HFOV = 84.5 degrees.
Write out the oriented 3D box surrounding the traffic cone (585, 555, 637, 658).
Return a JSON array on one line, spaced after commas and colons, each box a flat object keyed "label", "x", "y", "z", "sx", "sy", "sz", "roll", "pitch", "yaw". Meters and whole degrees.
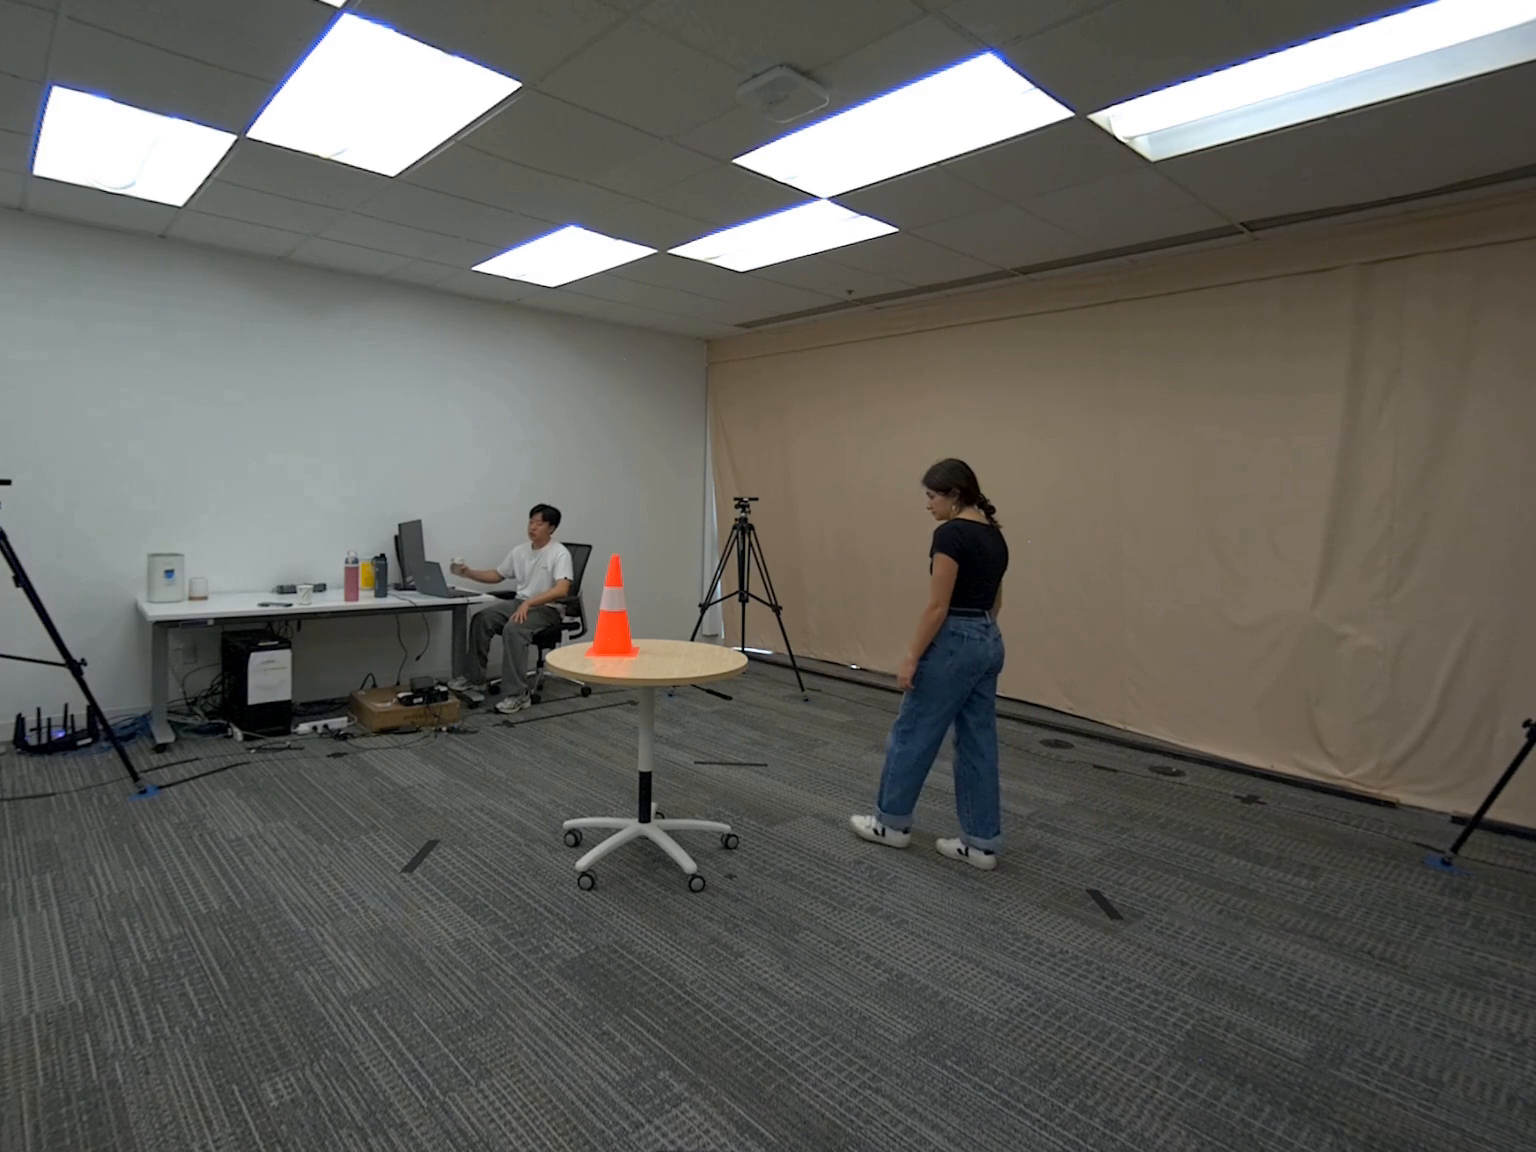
[{"label": "traffic cone", "x": -0.609, "y": 0.114, "z": 3.268, "sx": 0.204, "sy": 0.383, "sz": 0.205, "roll": 2, "pitch": 3, "yaw": -8}]
